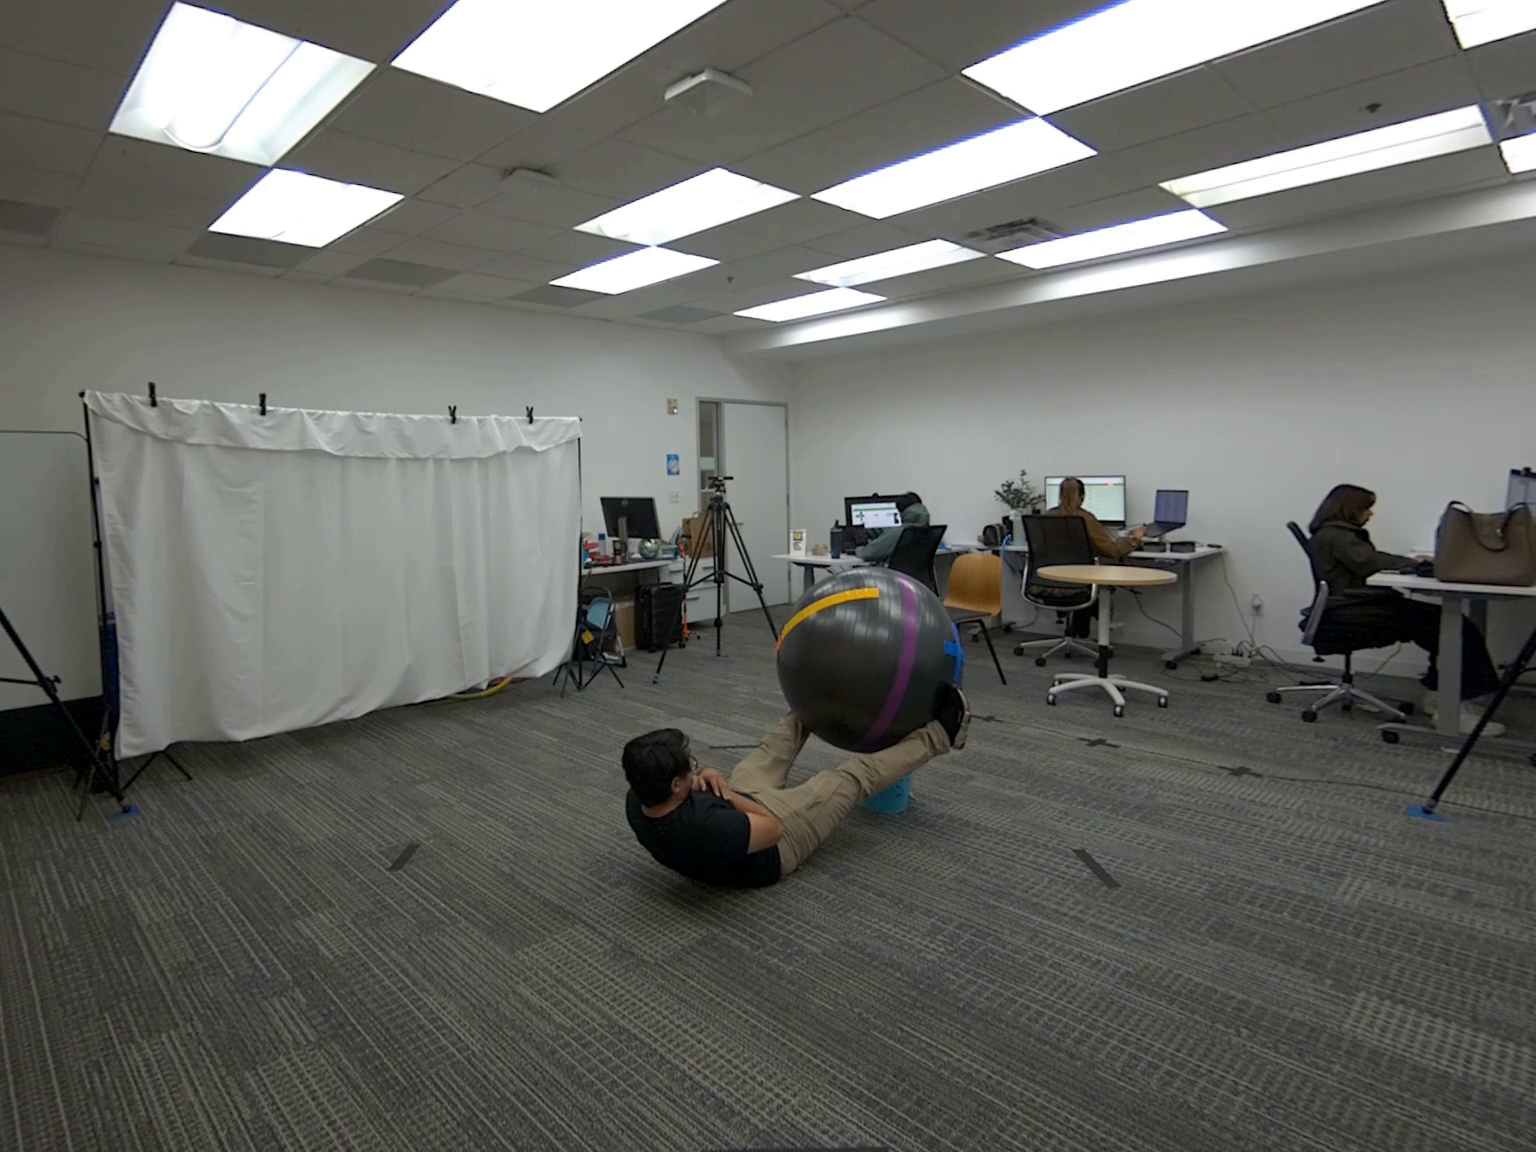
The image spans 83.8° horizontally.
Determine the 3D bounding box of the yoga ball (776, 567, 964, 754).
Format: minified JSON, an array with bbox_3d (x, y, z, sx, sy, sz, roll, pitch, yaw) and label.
[{"bbox_3d":[0.417,0.348,3.522,0.757,0.755,0.762,-1,5,-2],"label":"yoga ball"}]
